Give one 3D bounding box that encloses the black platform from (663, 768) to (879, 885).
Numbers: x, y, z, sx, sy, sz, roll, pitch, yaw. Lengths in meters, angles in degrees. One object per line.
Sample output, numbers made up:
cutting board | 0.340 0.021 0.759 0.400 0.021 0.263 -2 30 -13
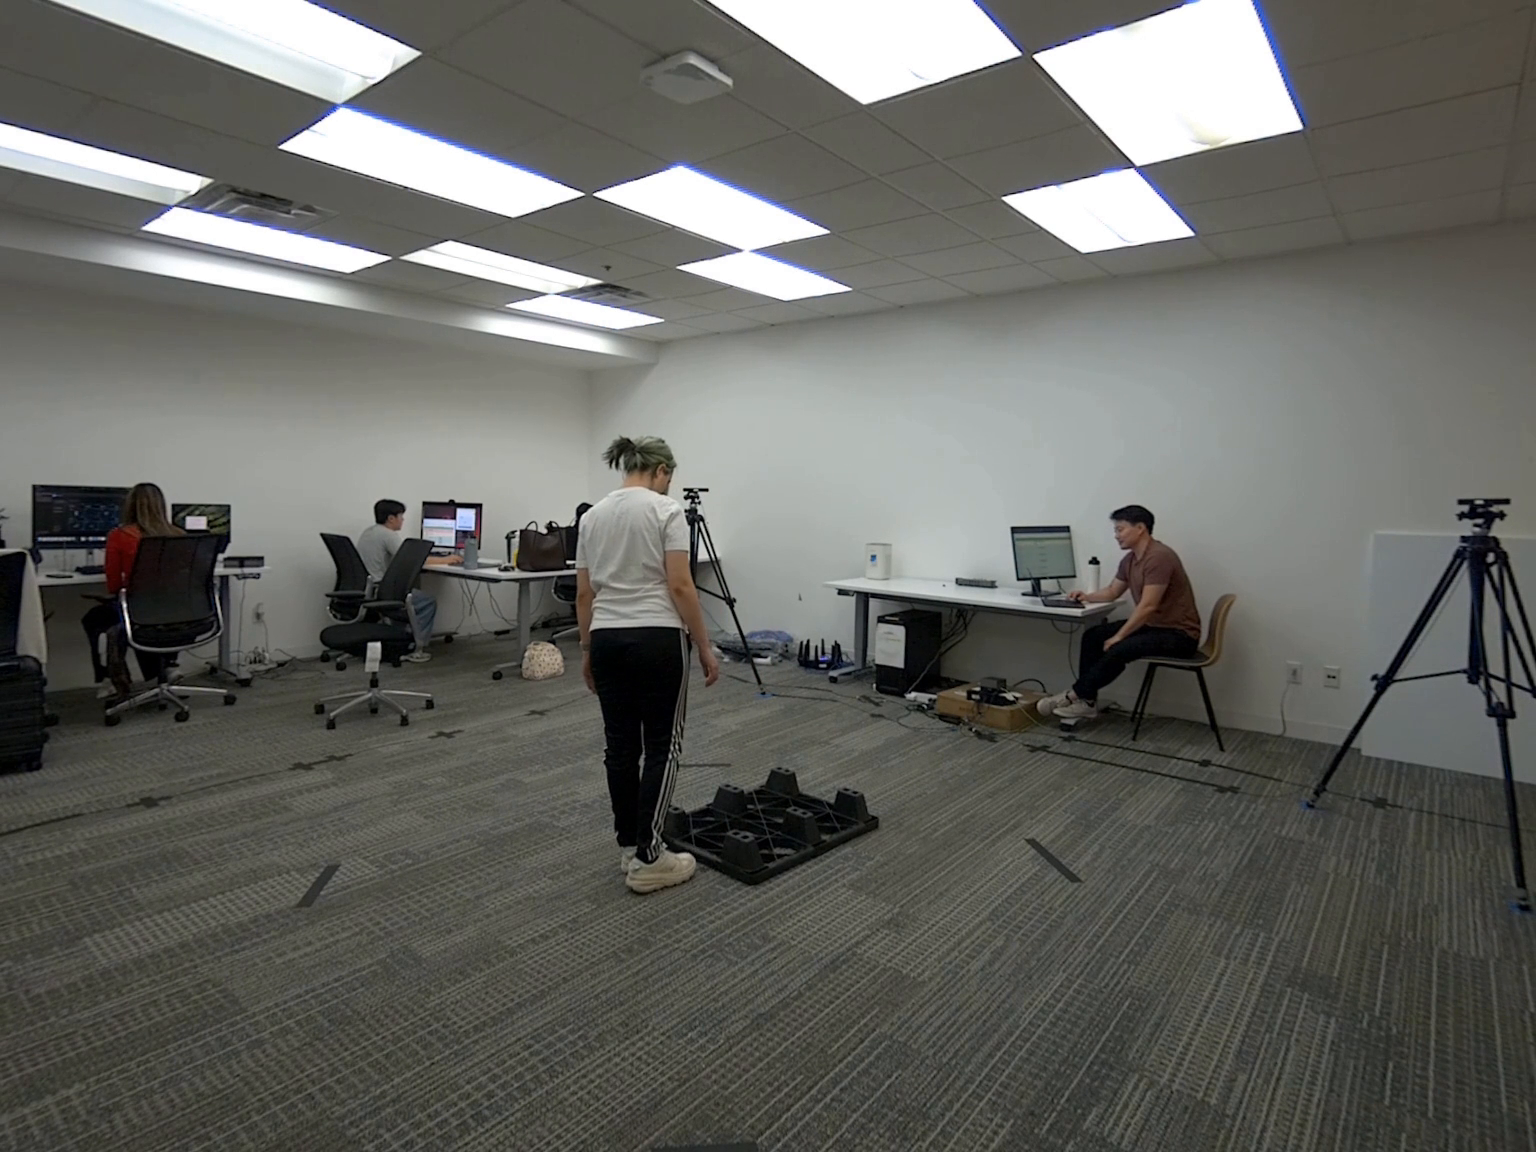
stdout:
black platform | -0.024 0.973 3.456 0.626 0.143 0.782 5 7 42
